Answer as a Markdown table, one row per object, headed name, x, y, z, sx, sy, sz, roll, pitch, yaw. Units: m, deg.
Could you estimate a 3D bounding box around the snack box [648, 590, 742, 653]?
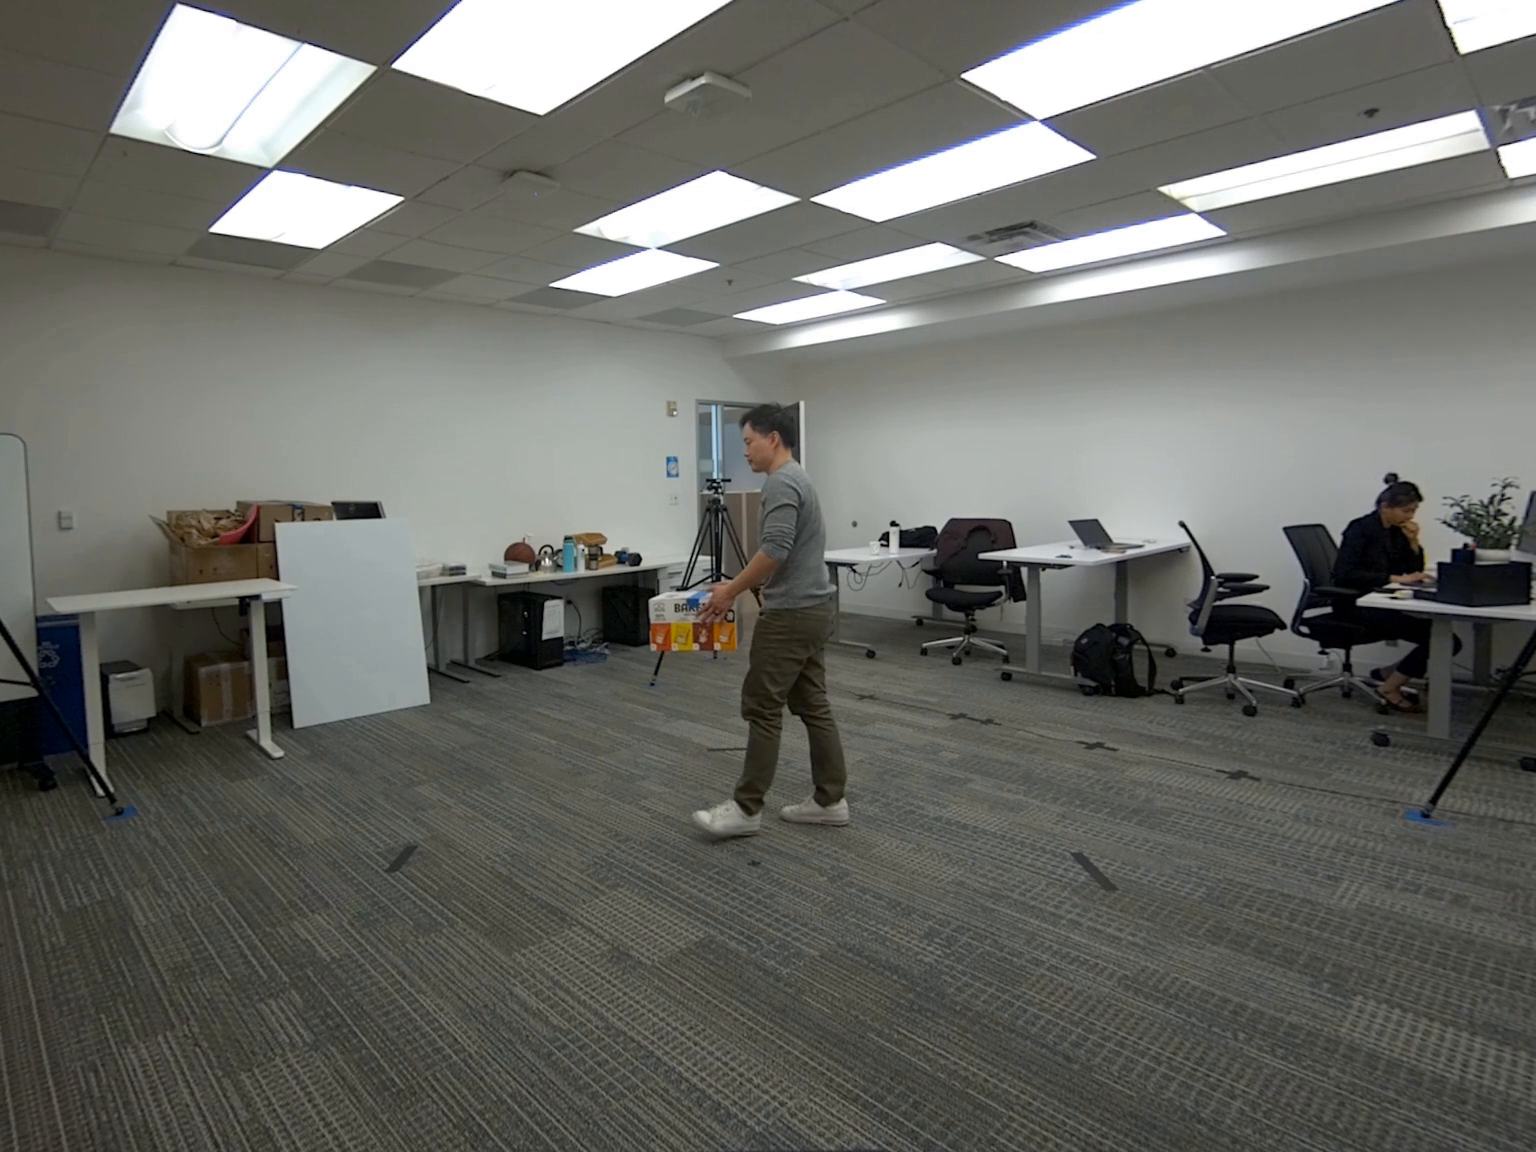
| name | x | y | z | sx | sy | sz | roll | pitch | yaw |
| --- | --- | --- | --- | --- | --- | --- | --- | --- | --- |
| snack box | -0.290 | 0.178 | 3.512 | 0.342 | 0.205 | 0.404 | -1 | 3 | 5 |
